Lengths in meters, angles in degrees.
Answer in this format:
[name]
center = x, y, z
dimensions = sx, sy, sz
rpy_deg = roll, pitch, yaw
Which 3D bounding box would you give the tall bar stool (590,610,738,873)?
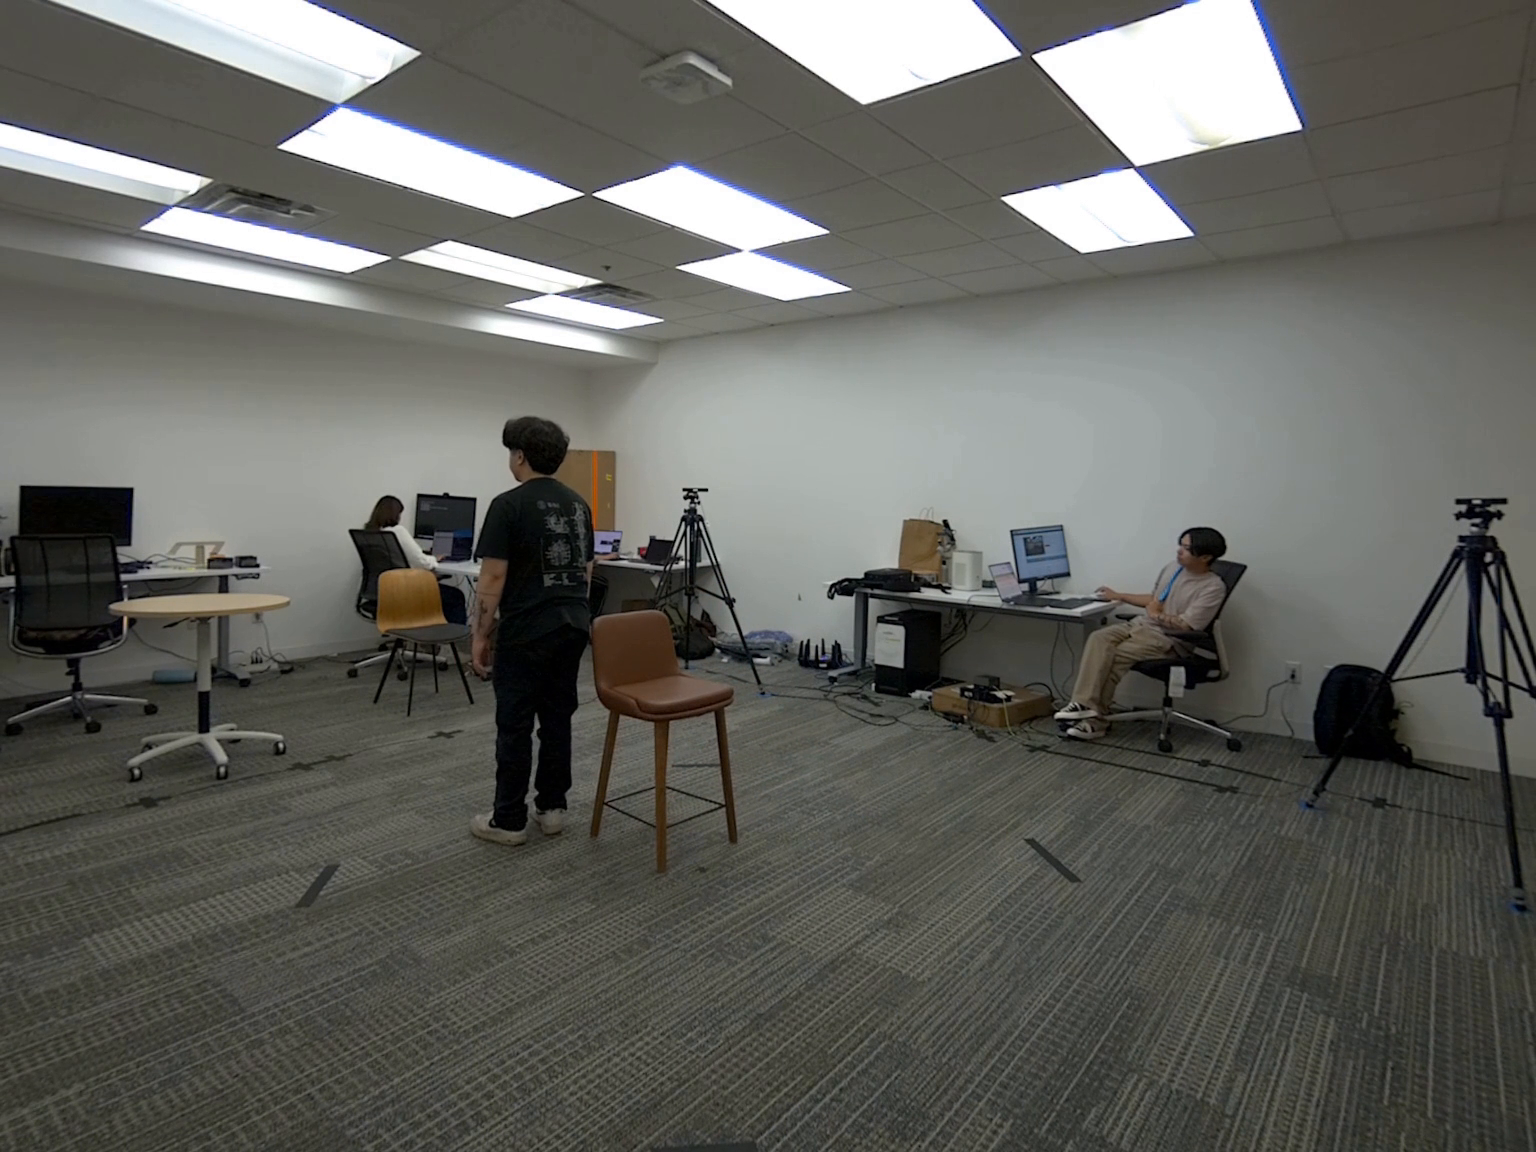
[tall bar stool]
center = -0.431, 0.606, 3.354
dimensions = 0.483, 0.889, 0.442
rpy_deg = 1, 2, 43
